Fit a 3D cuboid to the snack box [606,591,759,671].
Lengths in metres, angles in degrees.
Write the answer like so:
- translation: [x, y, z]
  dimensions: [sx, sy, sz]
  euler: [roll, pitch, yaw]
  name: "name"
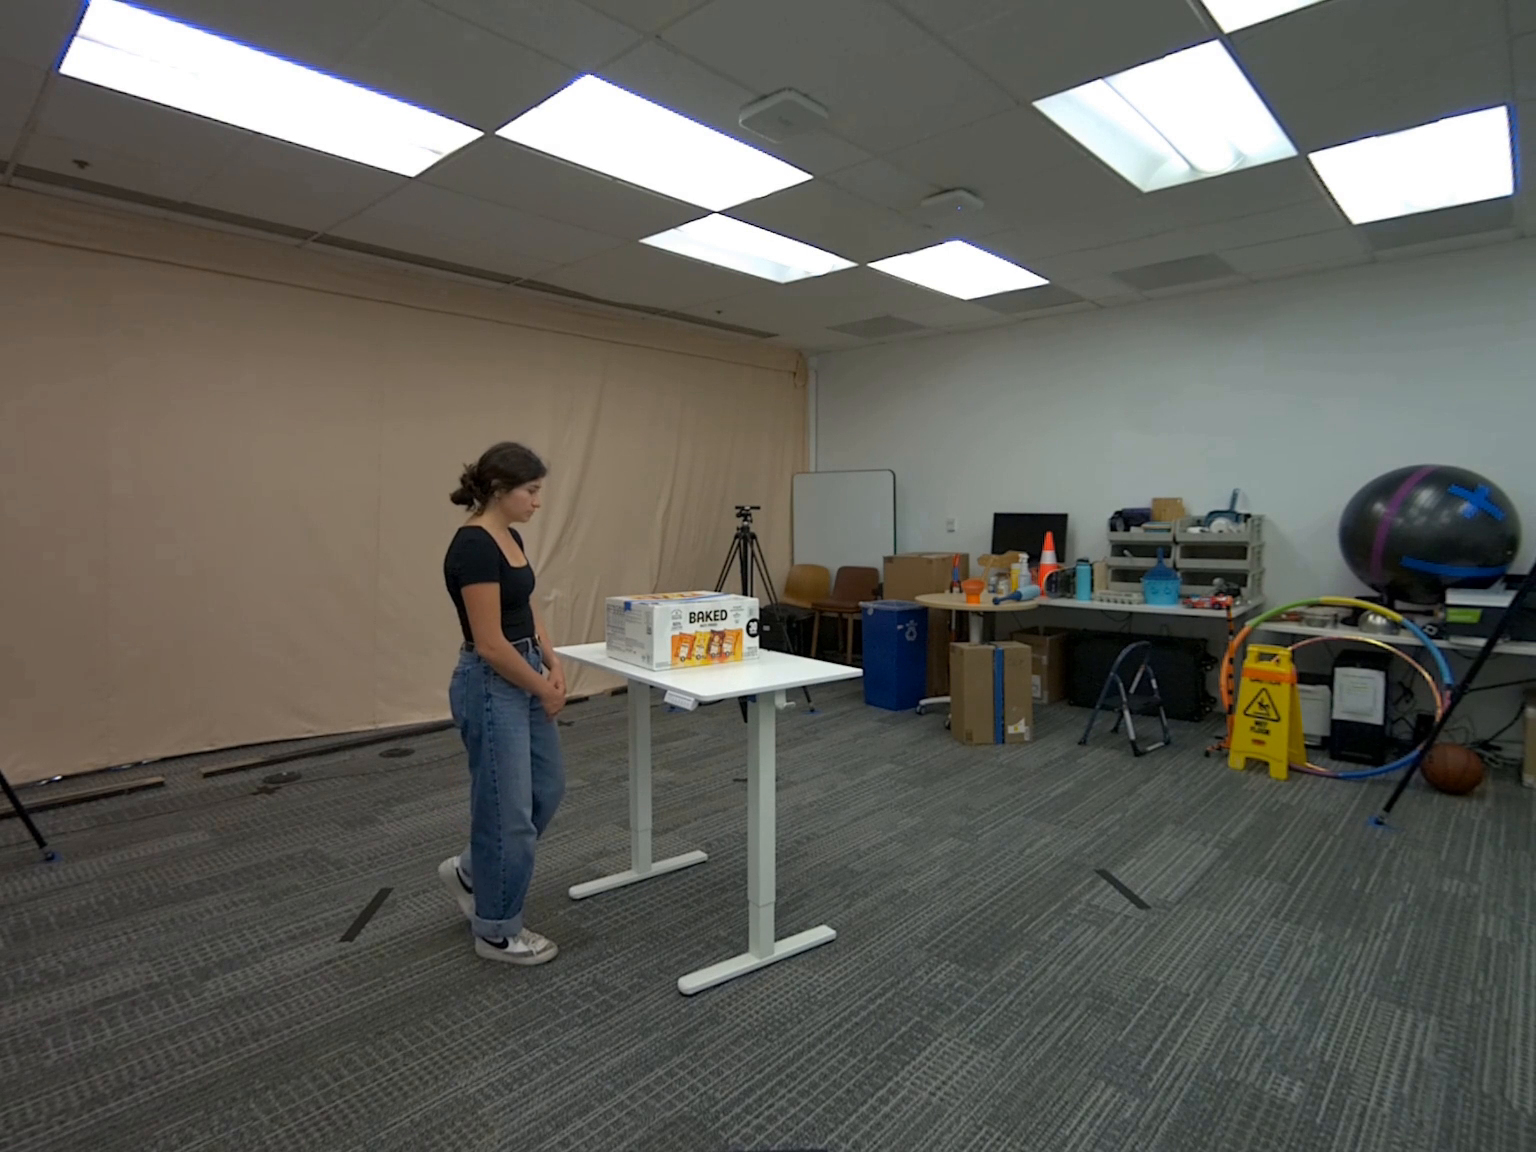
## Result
- translation: [-0.289, 0.175, 2.835]
  dimensions: [0.393, 0.205, 0.351]
  euler: [-3, 4, -36]
  name: "snack box"
